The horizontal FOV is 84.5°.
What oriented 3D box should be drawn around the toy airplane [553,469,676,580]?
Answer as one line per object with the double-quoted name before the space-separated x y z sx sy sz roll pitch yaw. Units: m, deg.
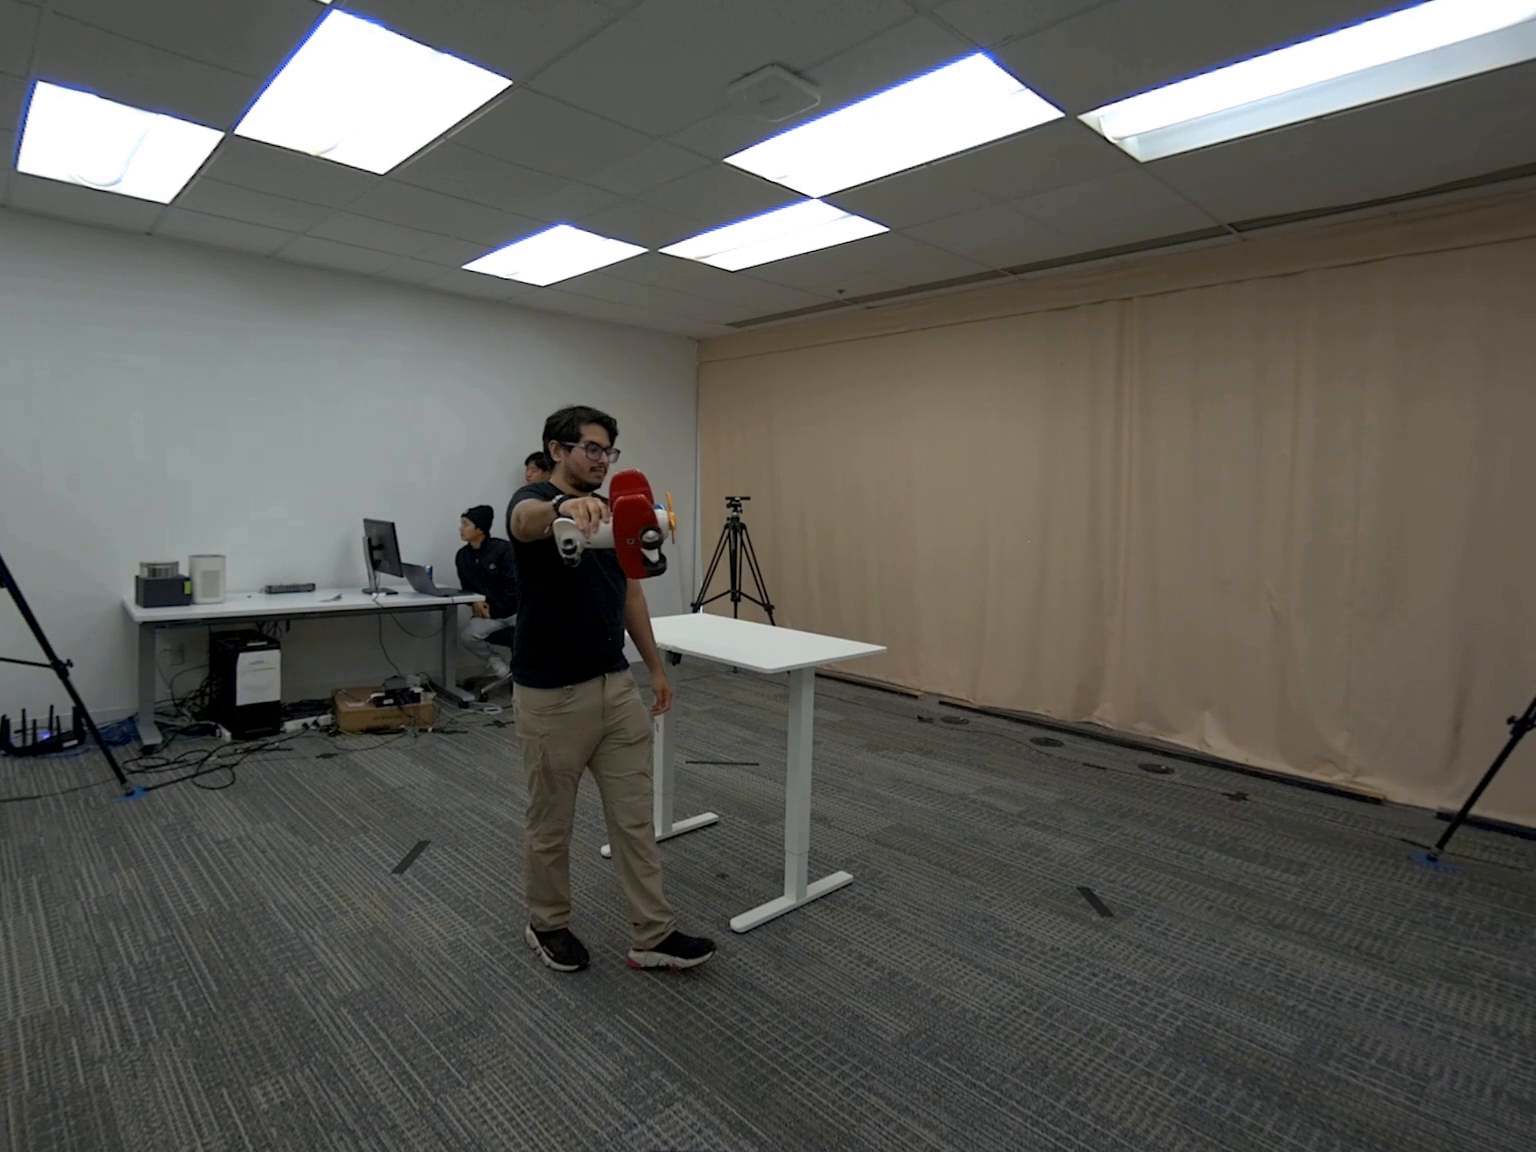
"toy airplane" -0.334 -0.102 1.809 0.255 0.160 0.250 21 -46 -18
